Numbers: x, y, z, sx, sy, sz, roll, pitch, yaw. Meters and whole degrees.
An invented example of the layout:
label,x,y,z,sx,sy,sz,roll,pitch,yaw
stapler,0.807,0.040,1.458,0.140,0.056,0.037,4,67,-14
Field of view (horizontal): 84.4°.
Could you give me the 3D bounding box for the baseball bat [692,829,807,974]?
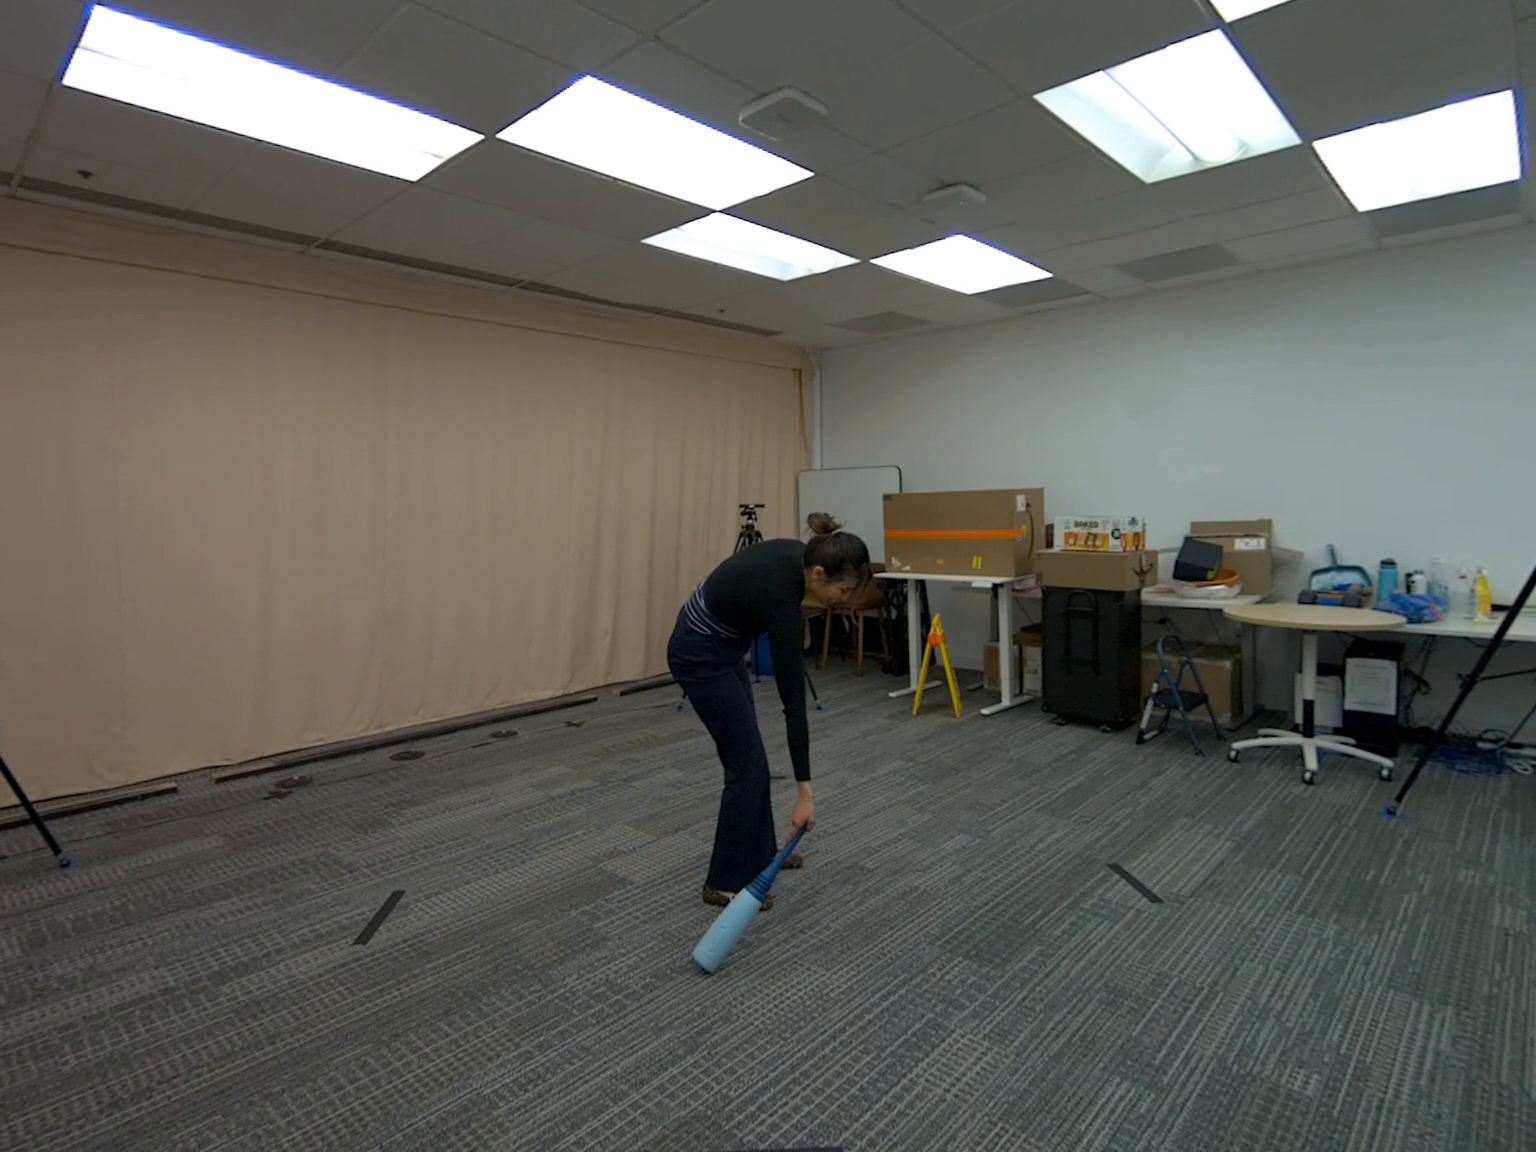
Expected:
label,x,y,z,sx,sy,sz,roll,pitch,yaw
baseball bat,-0.026,0.956,2.576,0.090,0.541,0.088,39,-13,9
